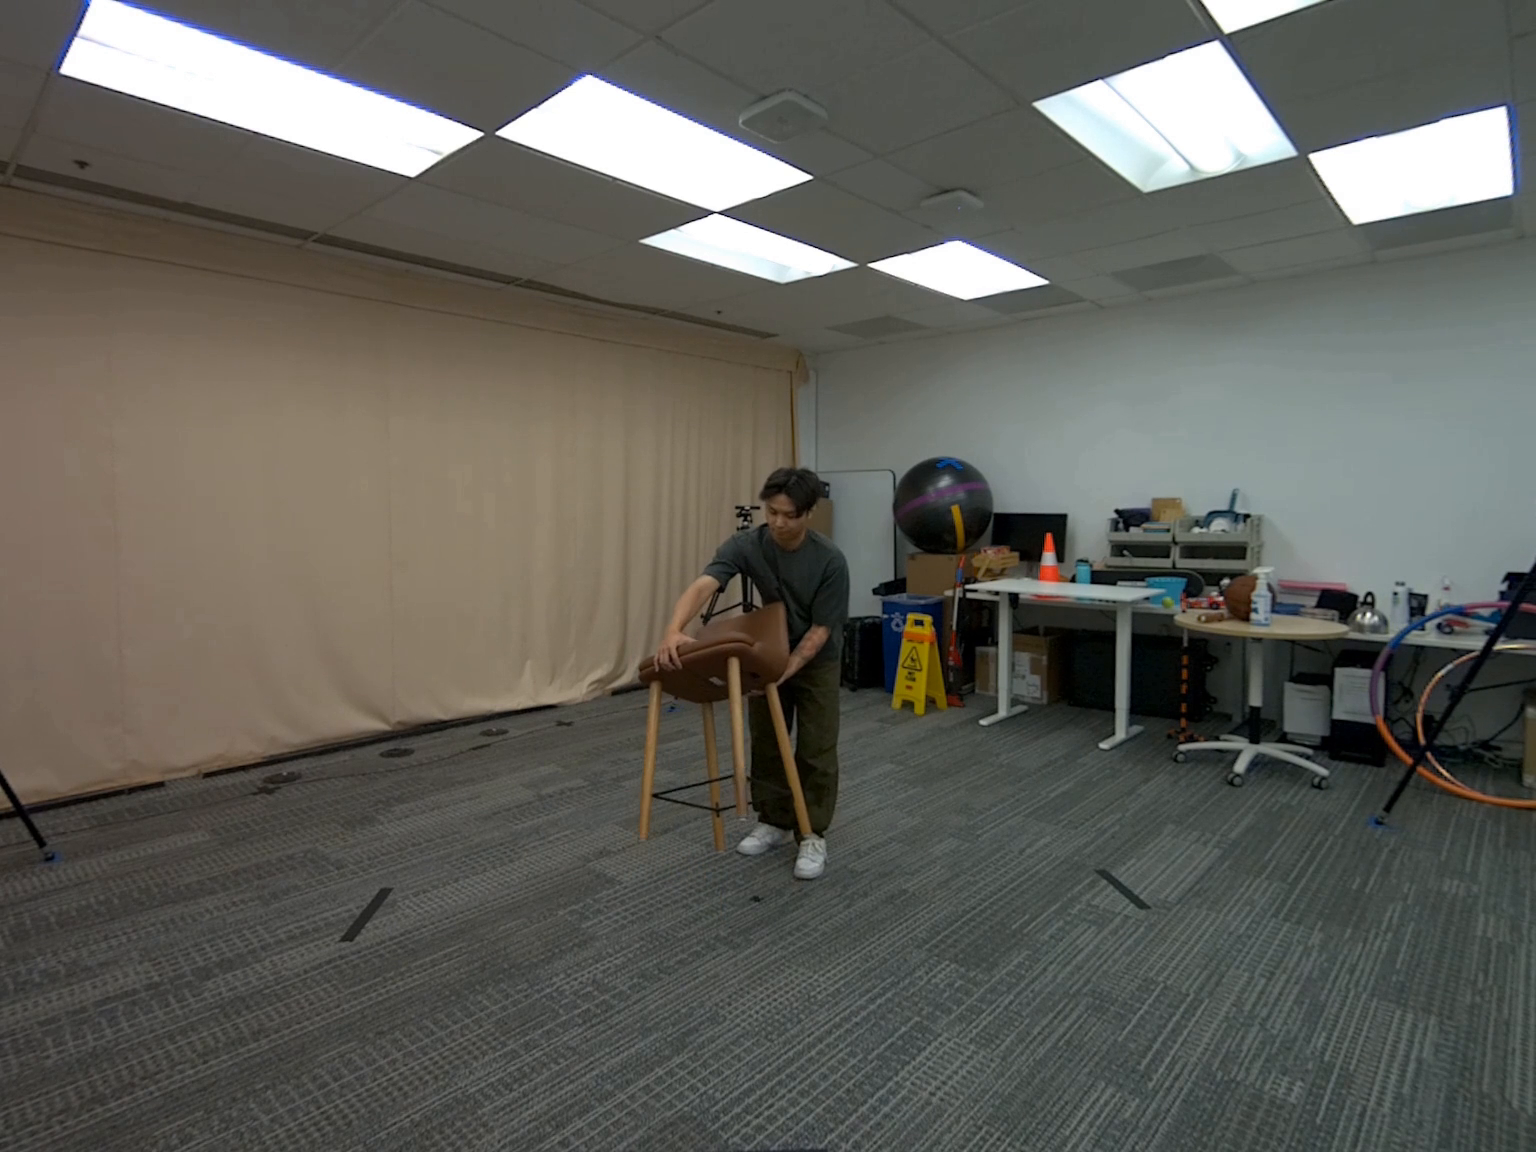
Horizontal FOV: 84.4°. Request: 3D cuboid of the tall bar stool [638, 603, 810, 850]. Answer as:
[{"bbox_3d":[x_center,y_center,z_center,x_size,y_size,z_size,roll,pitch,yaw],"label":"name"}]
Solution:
[{"bbox_3d":[-0.162,0.468,2.935,0.465,0.905,0.450,-20,-33,27],"label":"tall bar stool"}]
